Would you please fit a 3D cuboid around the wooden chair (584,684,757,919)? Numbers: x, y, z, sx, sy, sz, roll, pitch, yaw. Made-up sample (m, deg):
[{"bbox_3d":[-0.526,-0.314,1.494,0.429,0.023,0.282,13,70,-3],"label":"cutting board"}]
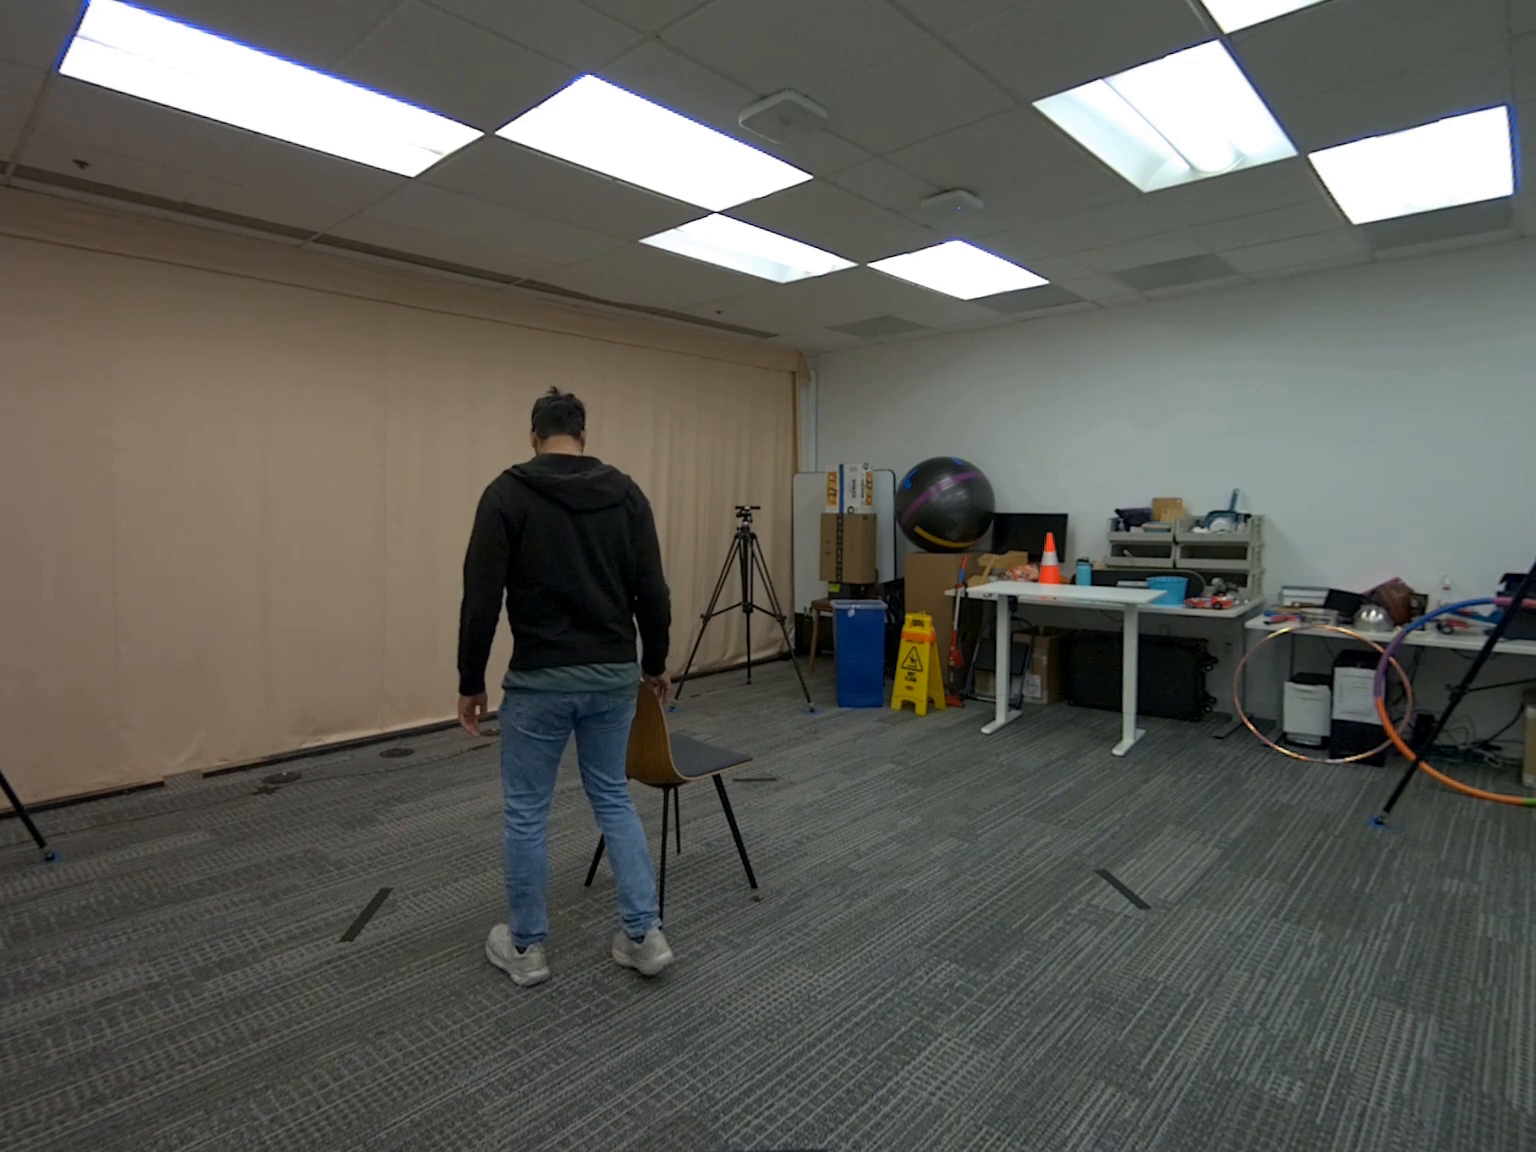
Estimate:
[{"bbox_3d":[-0.349,0.715,3.055,0.508,0.874,0.494,-9,8,-43],"label":"wooden chair"}]
